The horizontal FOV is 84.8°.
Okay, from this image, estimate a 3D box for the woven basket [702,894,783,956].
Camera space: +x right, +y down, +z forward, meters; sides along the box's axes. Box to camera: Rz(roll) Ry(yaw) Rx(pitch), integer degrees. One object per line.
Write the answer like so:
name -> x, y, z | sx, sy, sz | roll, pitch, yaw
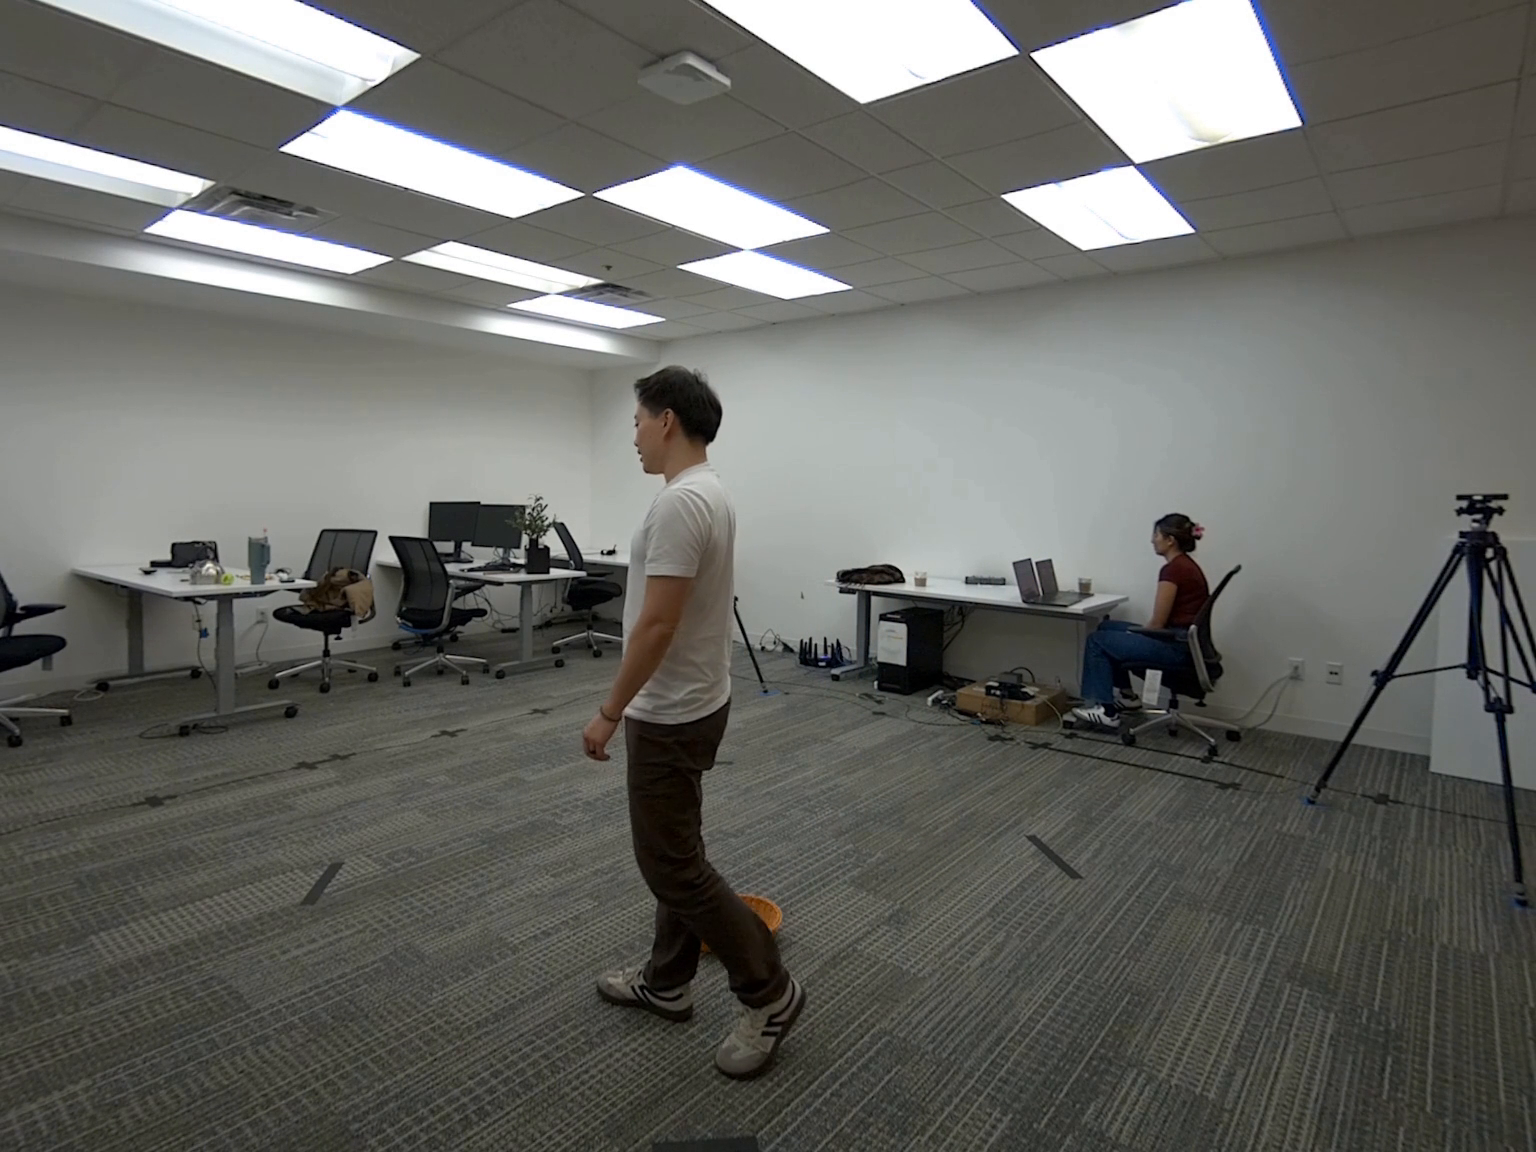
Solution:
woven basket -> -0.136, 1.072, 2.624 | 0.347, 0.073, 0.256 | 1, 6, -8
